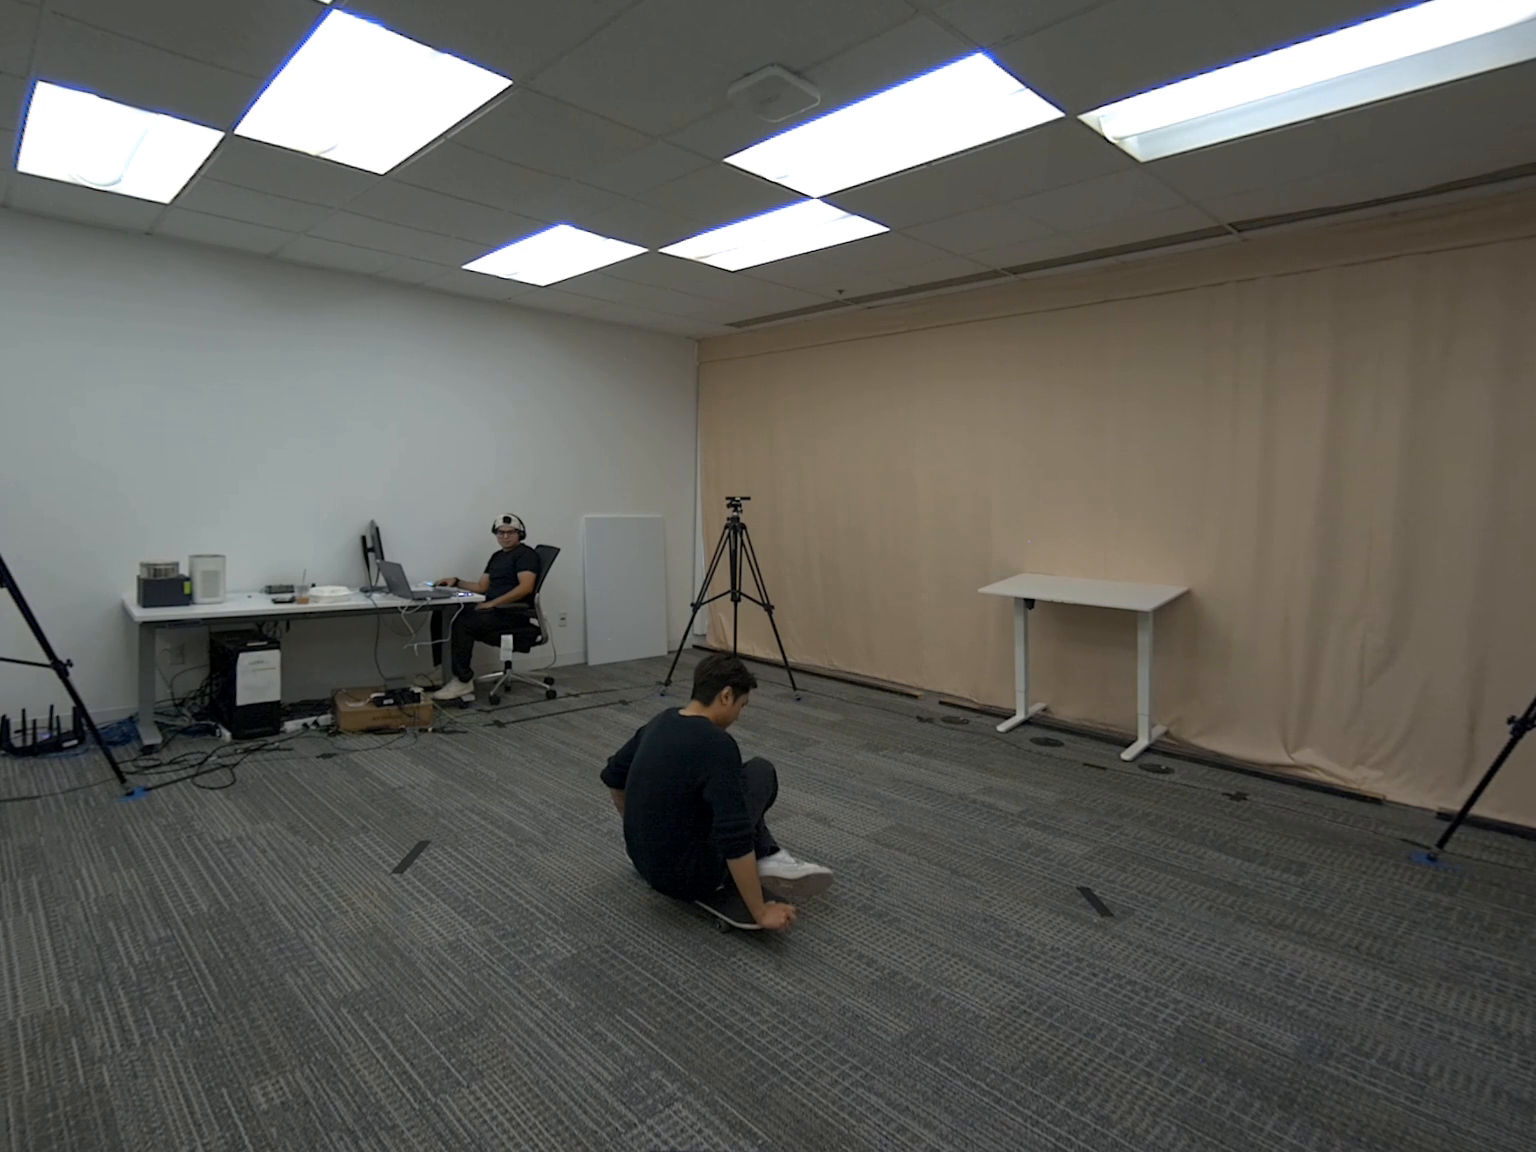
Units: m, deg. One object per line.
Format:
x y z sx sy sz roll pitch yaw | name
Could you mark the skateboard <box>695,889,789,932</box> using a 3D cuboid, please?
-0.229 1.081 2.889 0.190 0.109 0.805 -13 12 -41 | skateboard
